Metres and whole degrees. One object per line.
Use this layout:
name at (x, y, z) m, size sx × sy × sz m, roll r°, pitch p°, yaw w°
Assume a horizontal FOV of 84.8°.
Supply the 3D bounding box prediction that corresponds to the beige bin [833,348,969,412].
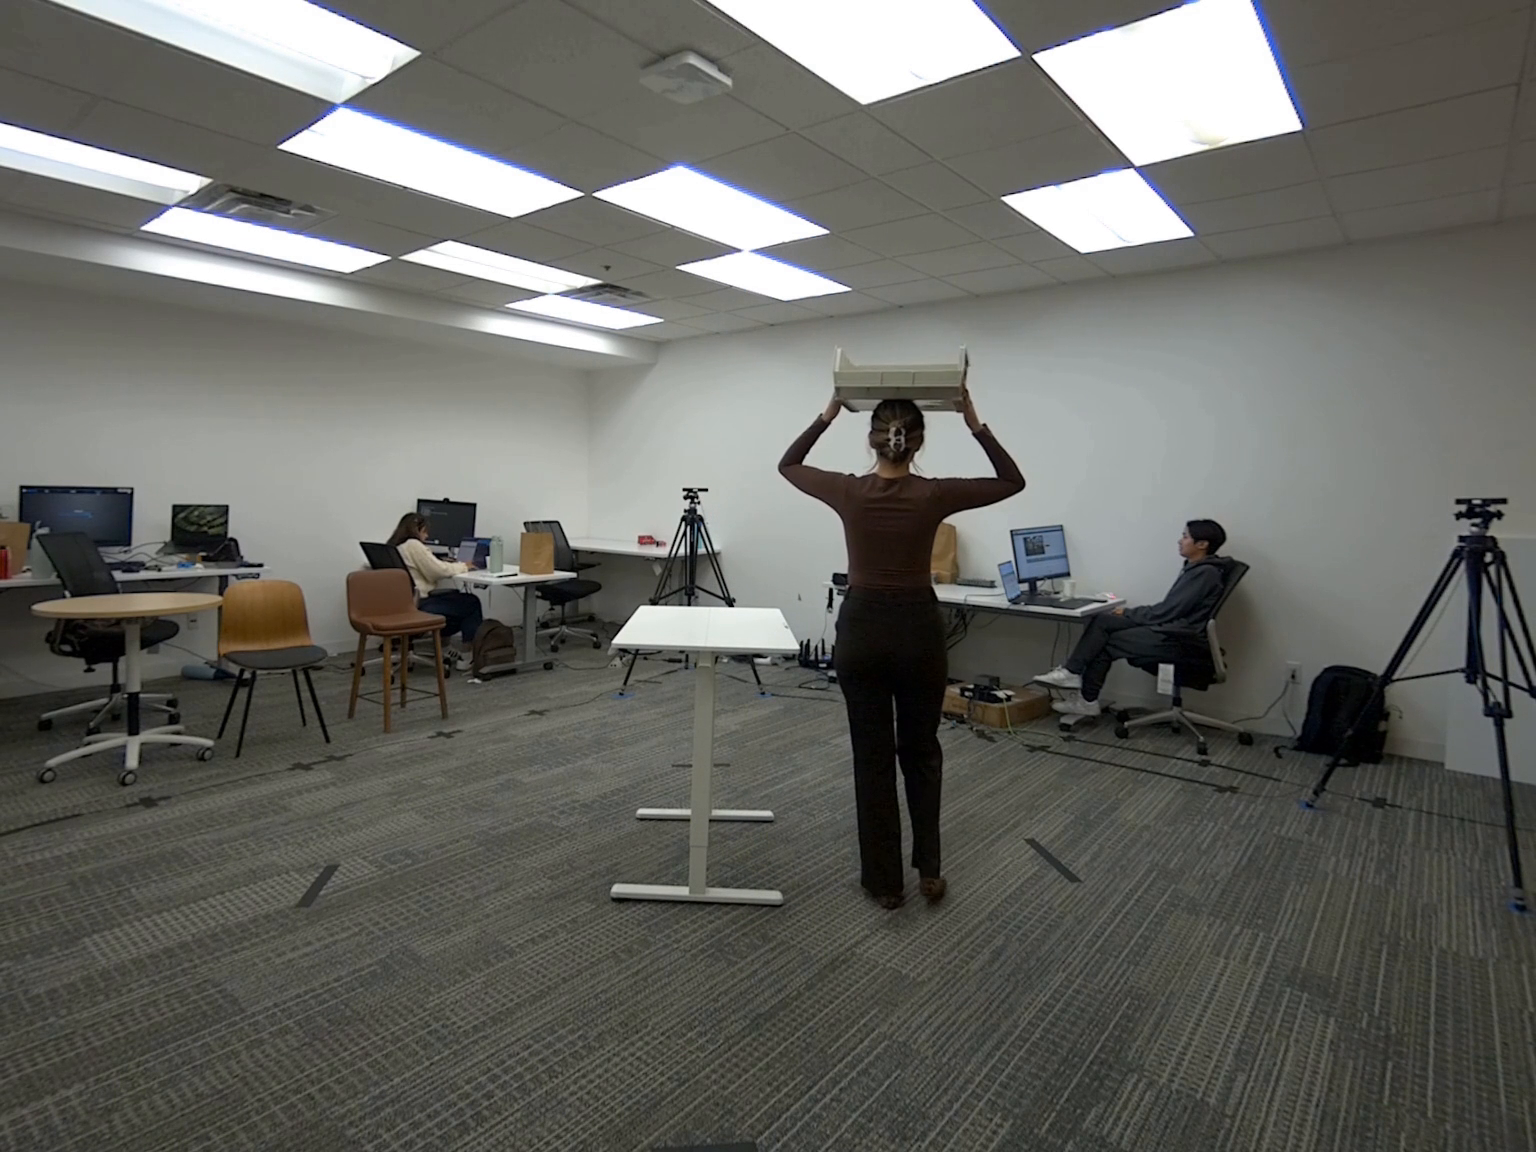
beige bin at (0.456, -0.674, 2.916) m, size 0.430 × 0.189 × 0.371 m, roll 3°, pitch 3°, yaw 17°
